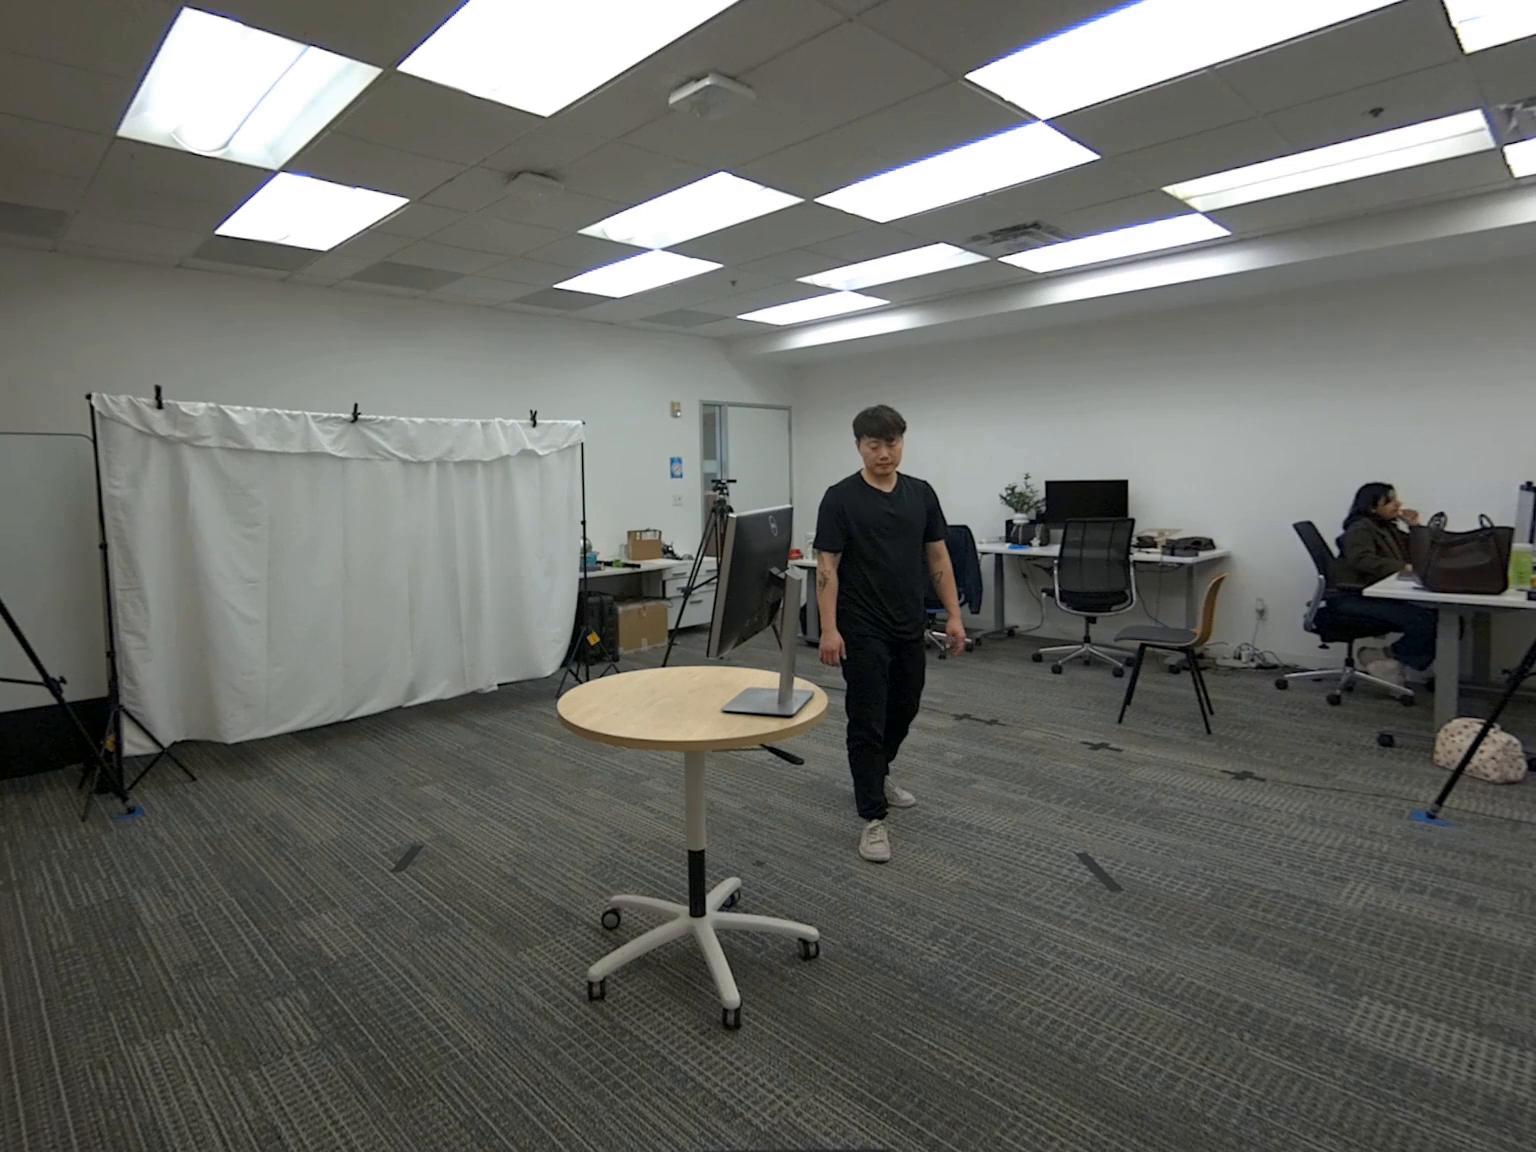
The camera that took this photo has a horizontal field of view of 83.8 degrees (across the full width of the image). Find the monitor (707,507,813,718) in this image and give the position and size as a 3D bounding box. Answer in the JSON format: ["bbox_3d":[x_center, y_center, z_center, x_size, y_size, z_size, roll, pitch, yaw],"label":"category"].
[{"bbox_3d":[0.007,0.090,2.350,0.190,0.520,0.534,-1,6,14],"label":"monitor"}]
